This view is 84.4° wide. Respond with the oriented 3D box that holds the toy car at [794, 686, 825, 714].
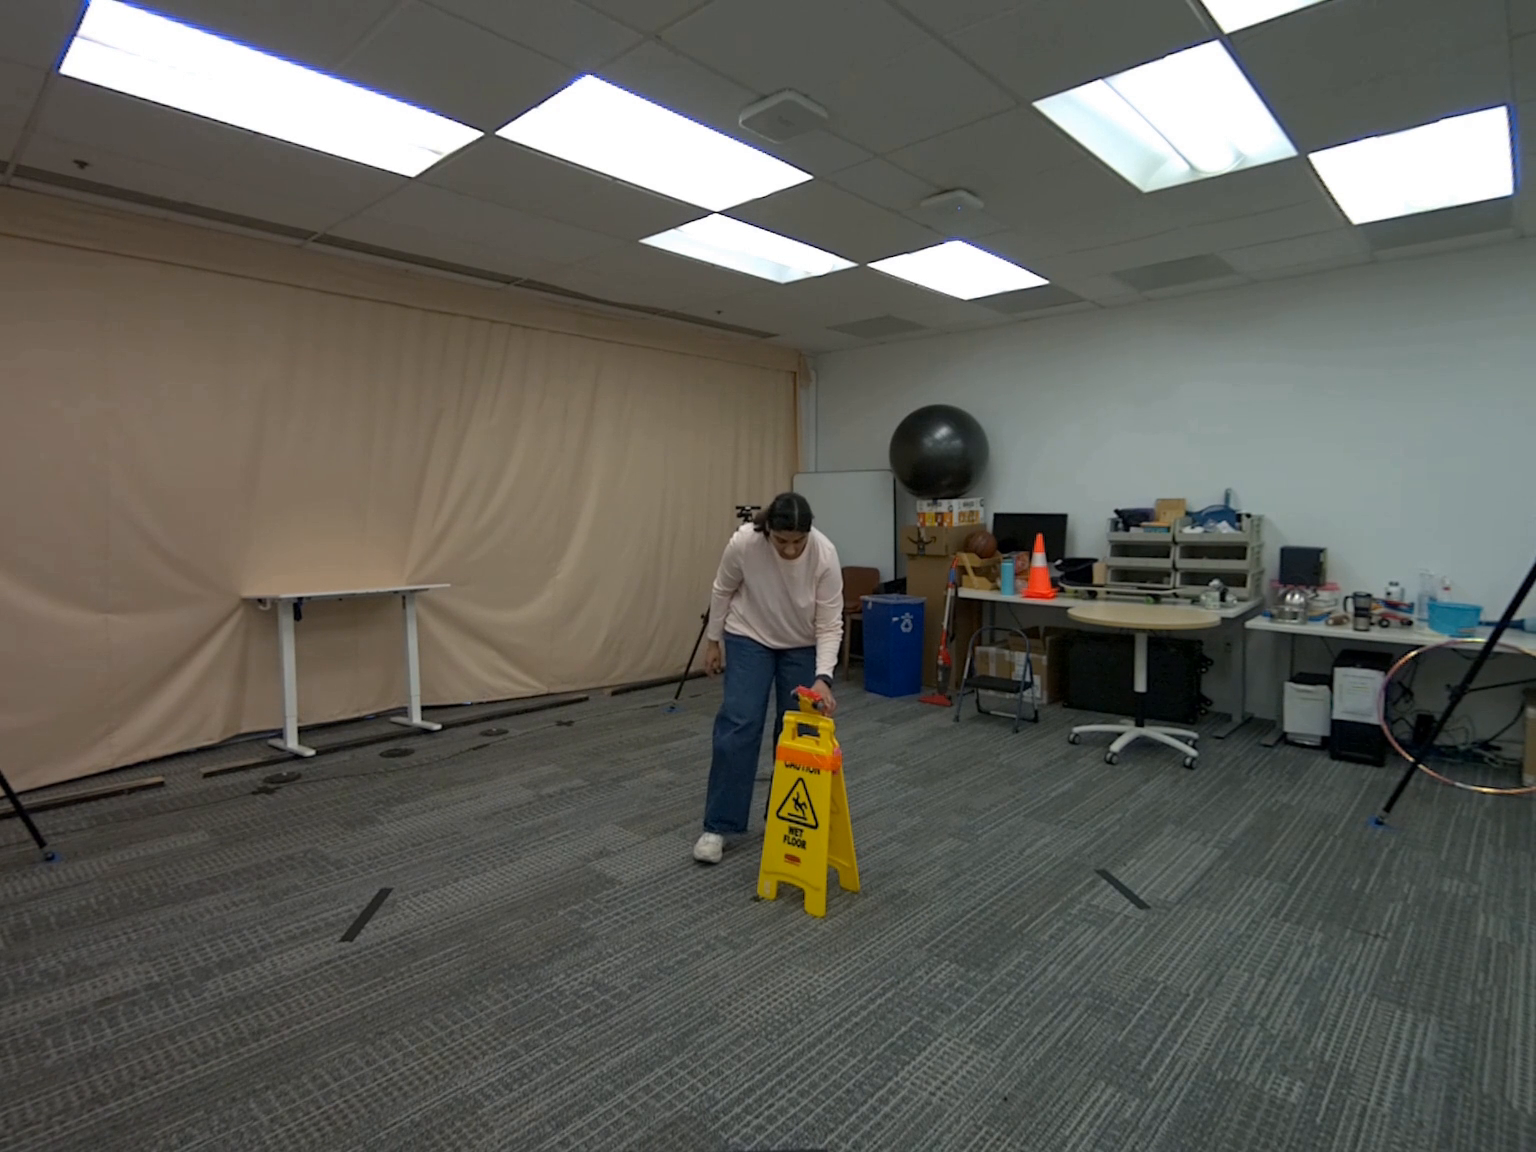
[{"bbox_3d":[0.163,0.485,3.037,0.135,0.083,0.246,20,-20,32],"label":"toy car"}]
